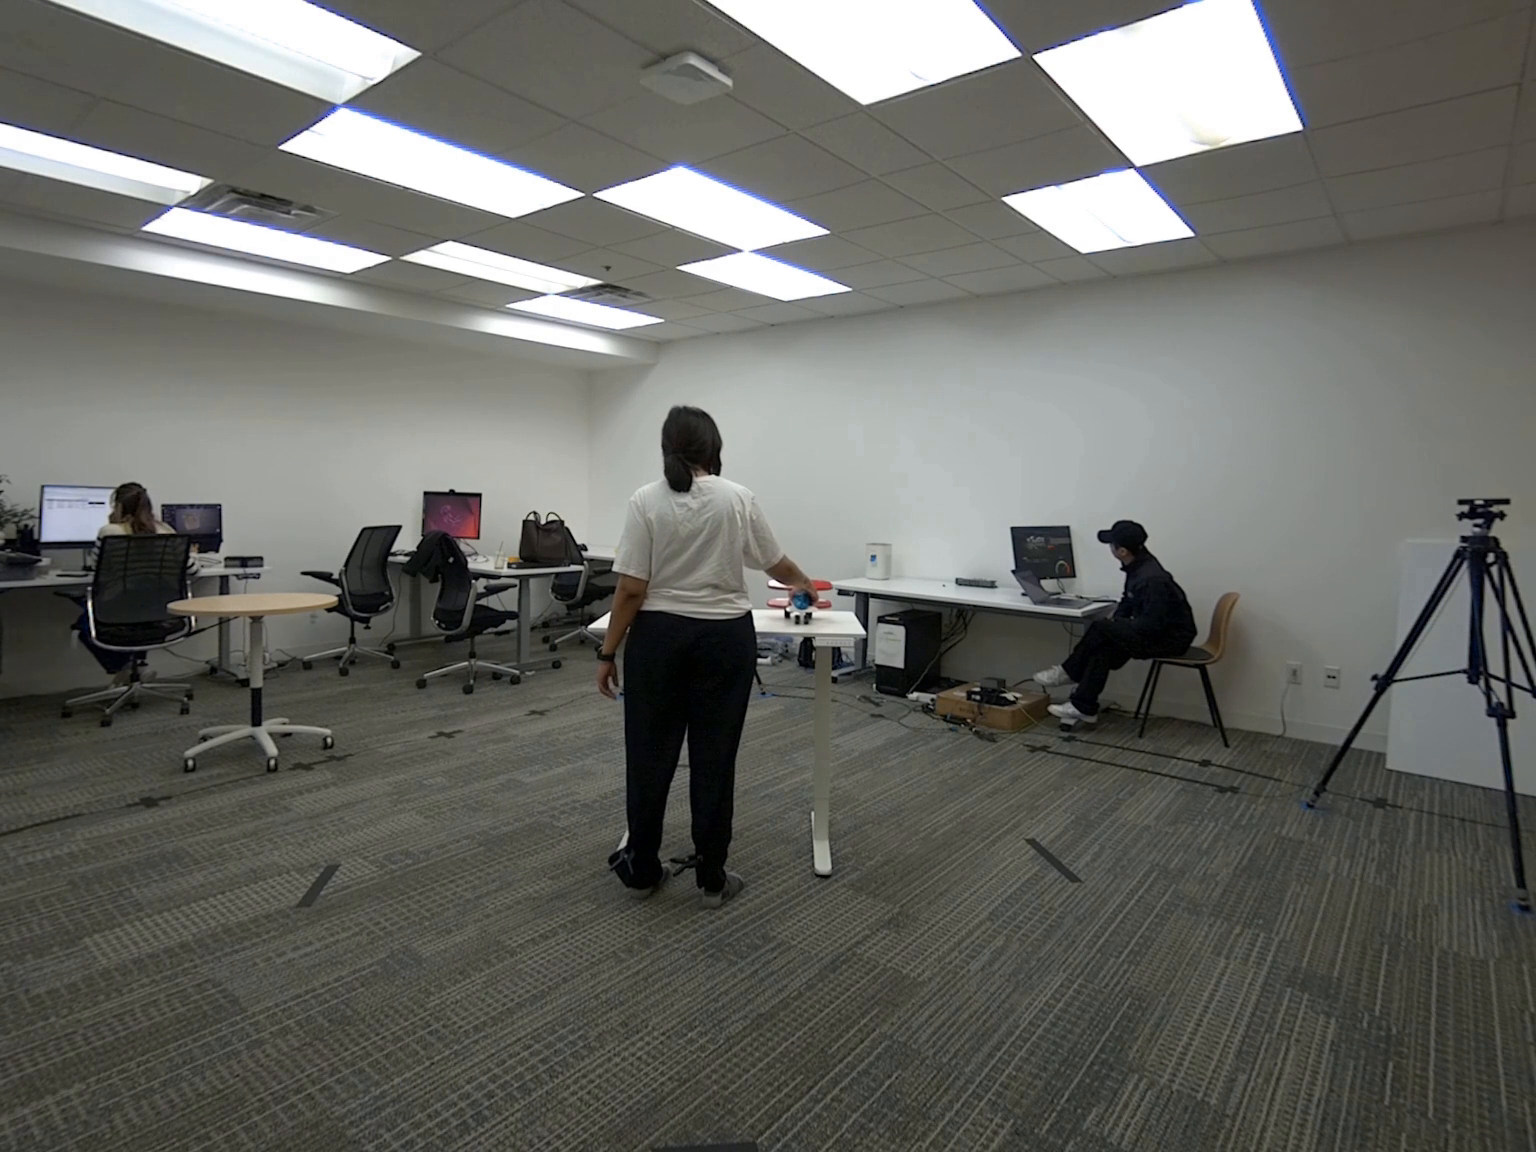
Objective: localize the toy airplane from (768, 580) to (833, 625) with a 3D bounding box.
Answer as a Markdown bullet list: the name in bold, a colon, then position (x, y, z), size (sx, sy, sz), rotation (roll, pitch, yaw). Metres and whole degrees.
- **toy airplane**: position (0.138, 0.094, 3.322), size (0.245, 0.156, 0.266), rotation (-2, 4, -28)
